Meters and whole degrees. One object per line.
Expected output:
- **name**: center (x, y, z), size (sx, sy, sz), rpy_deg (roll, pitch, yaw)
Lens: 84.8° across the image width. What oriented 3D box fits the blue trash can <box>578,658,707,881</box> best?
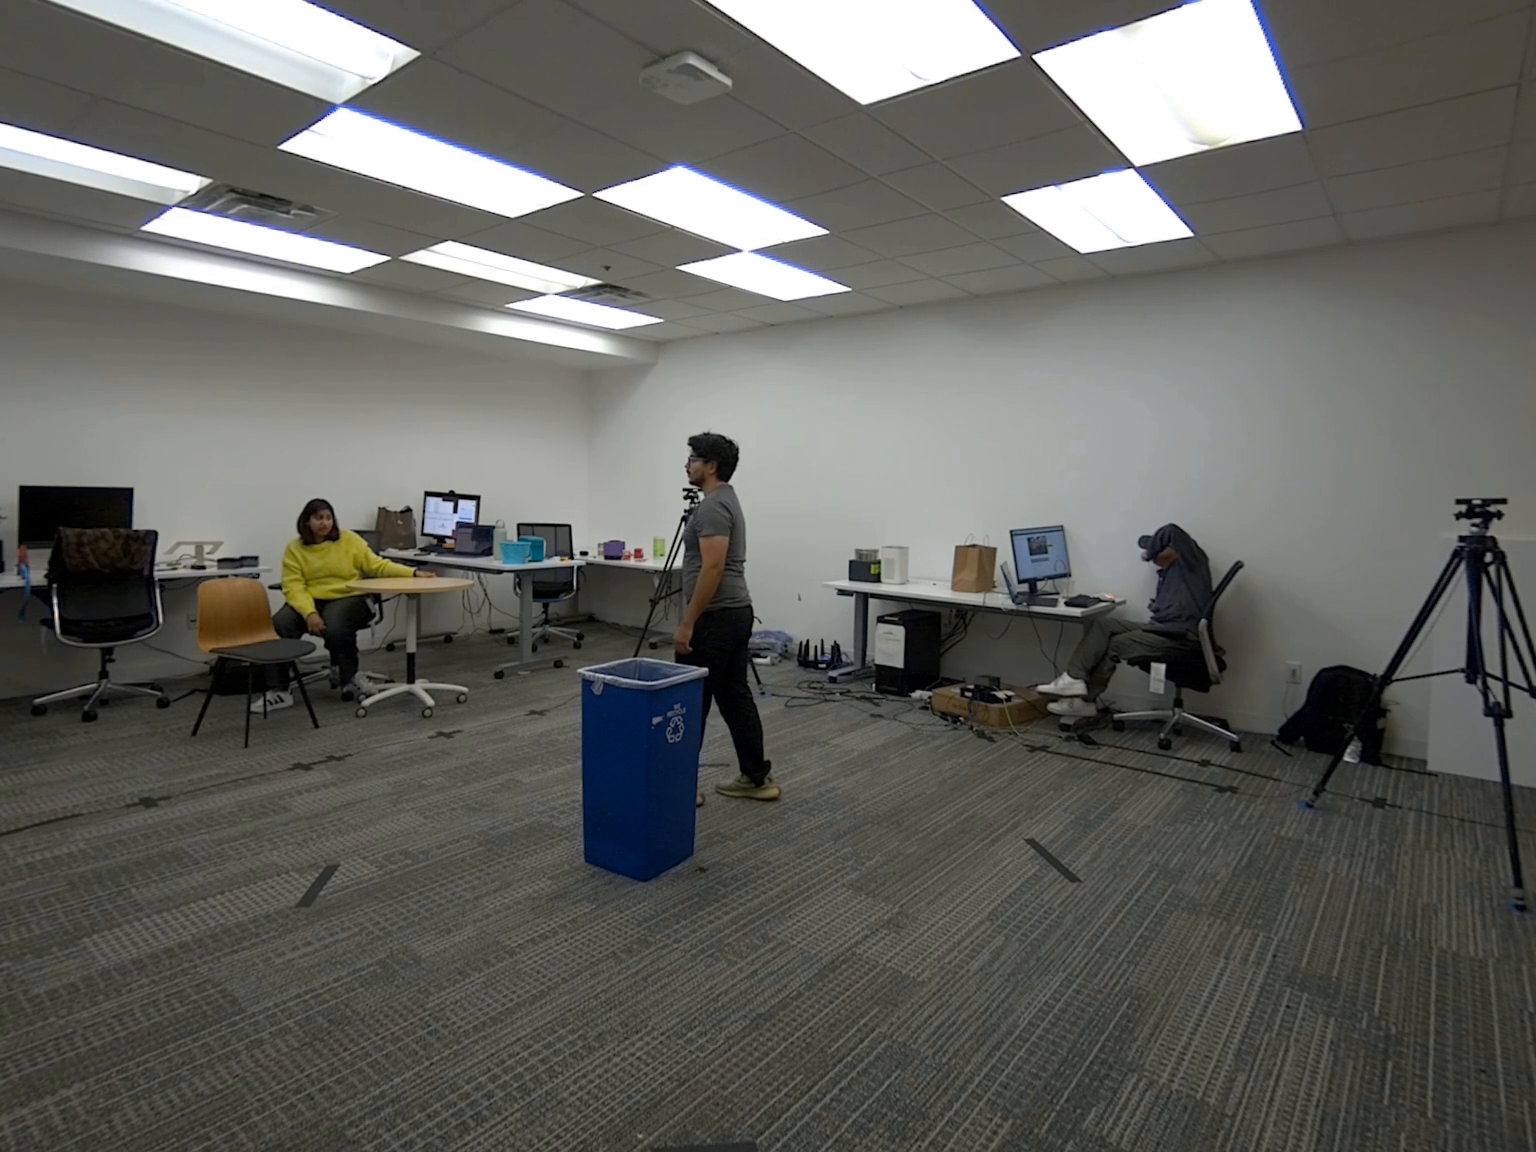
- **blue trash can**: center (-0.484, 0.700, 3.189), size (0.390, 0.712, 0.364), rpy_deg (3, 3, 32)
